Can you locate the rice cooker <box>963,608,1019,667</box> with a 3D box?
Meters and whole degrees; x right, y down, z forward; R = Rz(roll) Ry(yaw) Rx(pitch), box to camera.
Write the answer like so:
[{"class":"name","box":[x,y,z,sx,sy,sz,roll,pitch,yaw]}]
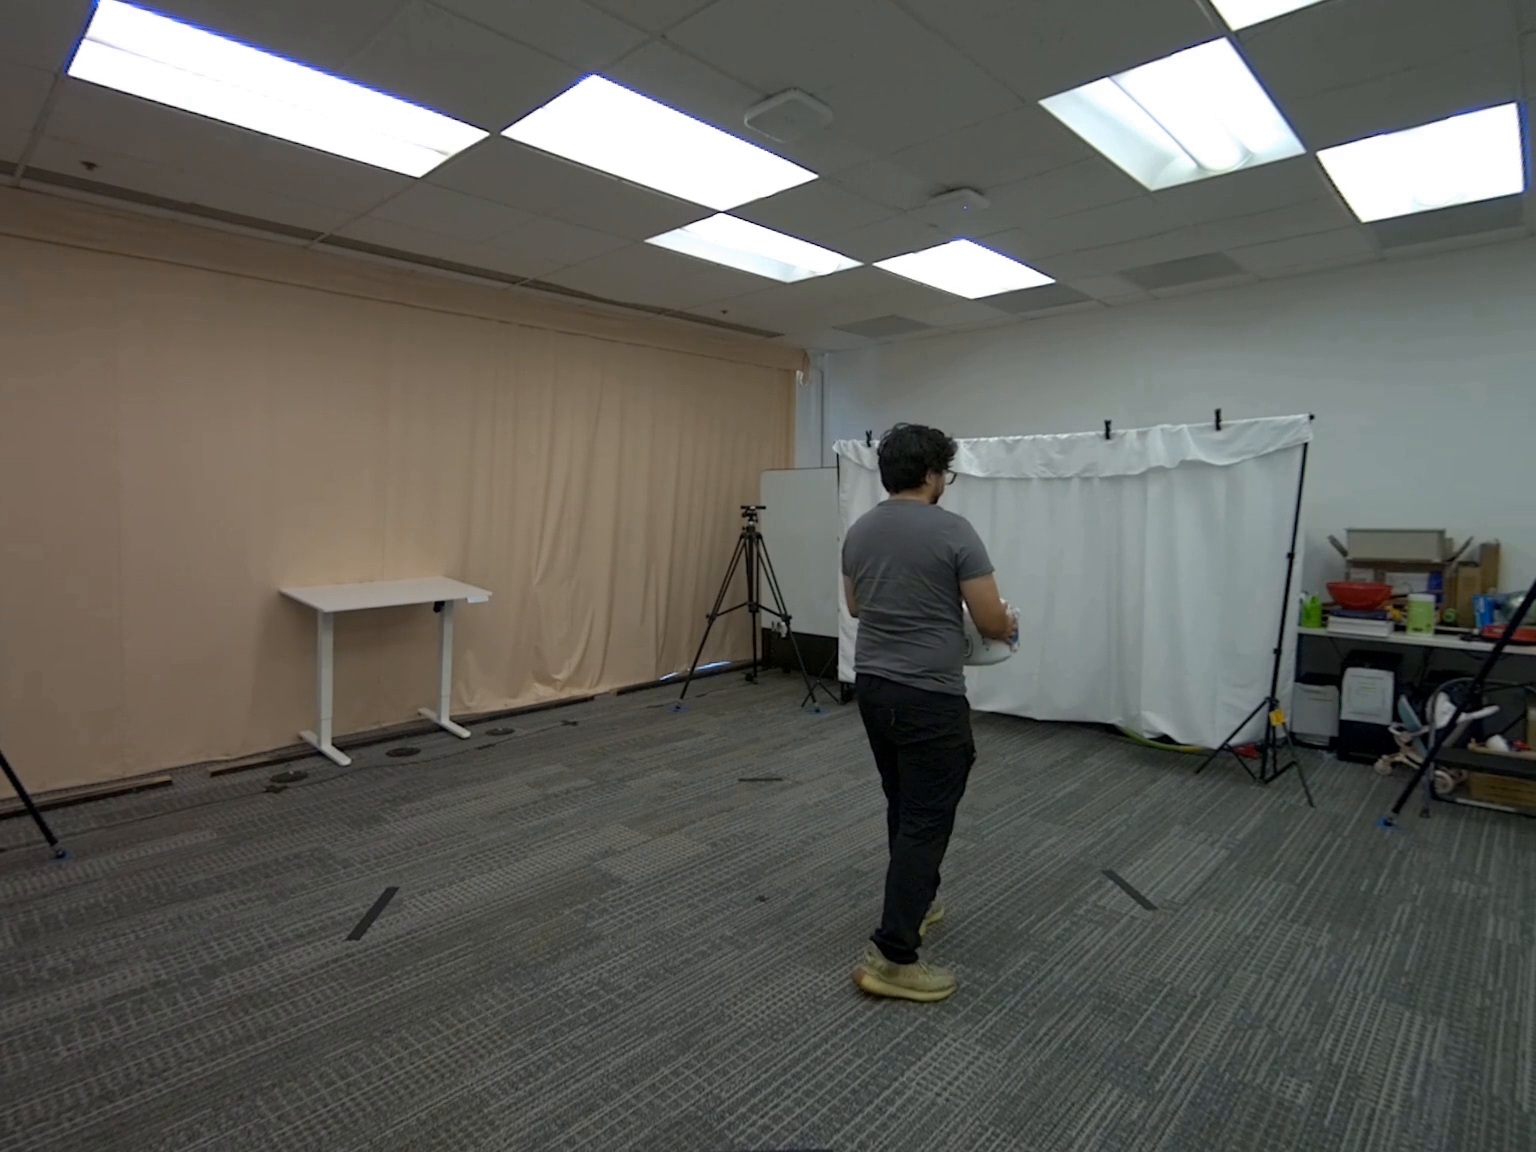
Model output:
[{"class":"rice cooker","box":[0.706,0.165,2.791,0.227,0.232,0.211,-3,5,41]}]
